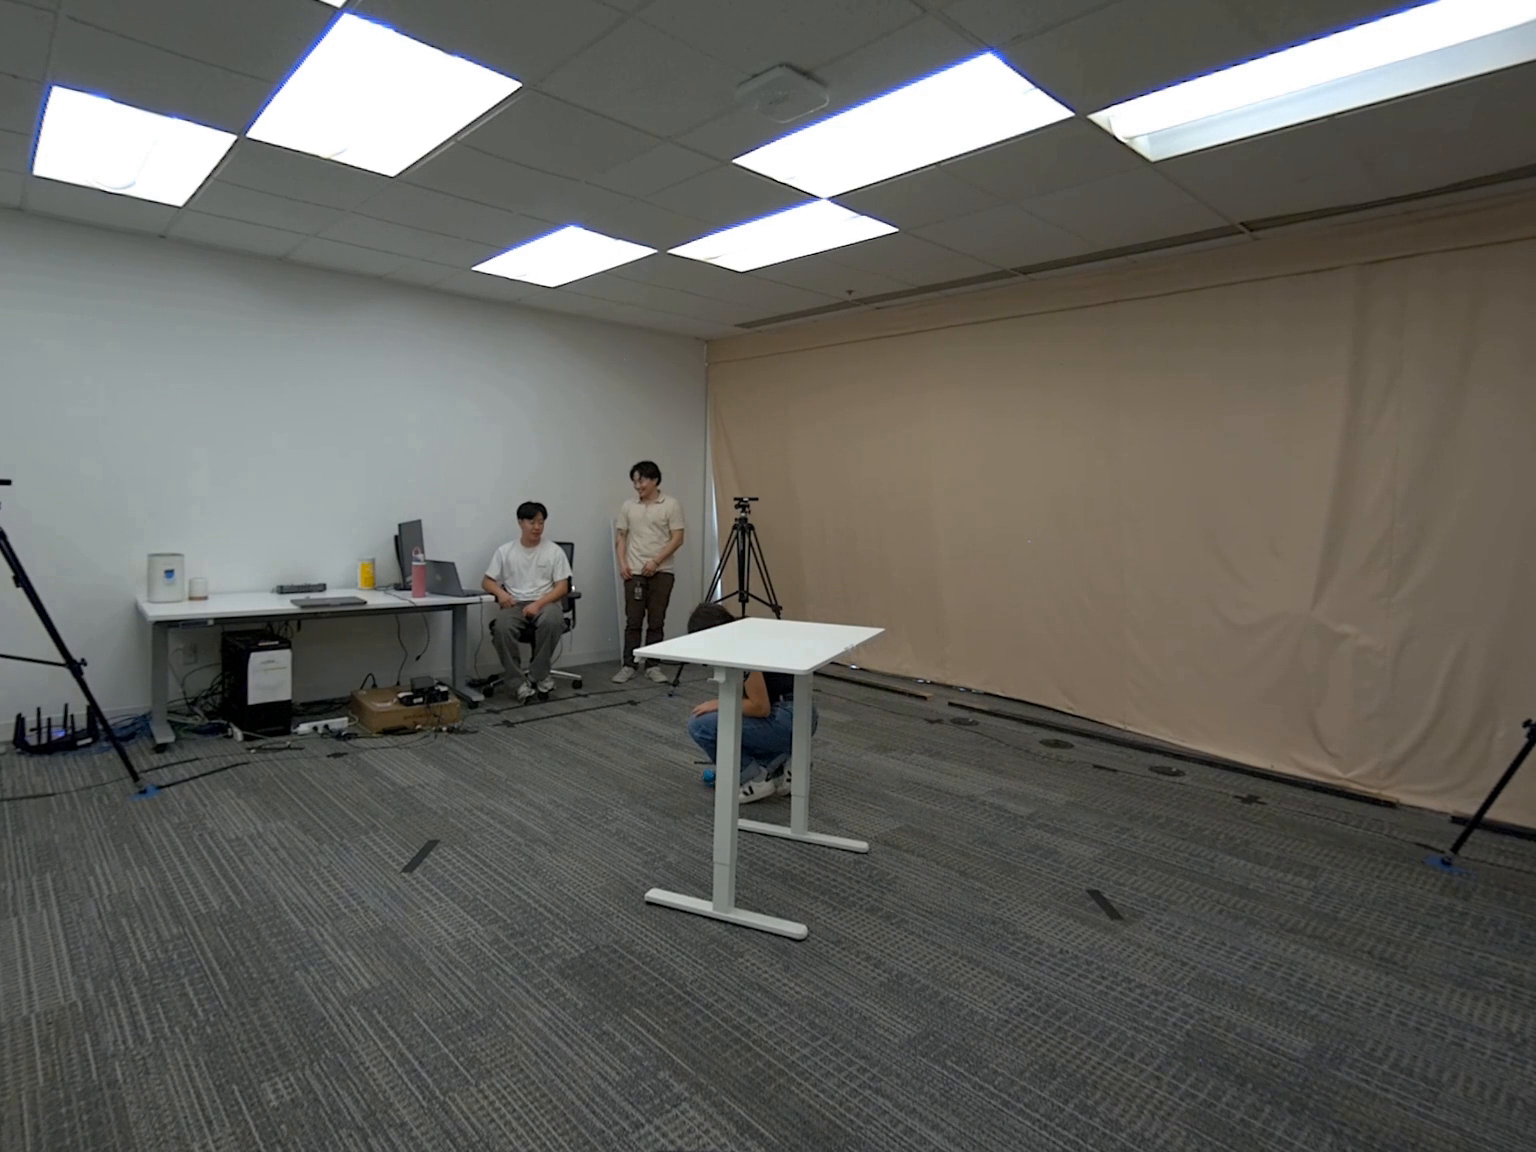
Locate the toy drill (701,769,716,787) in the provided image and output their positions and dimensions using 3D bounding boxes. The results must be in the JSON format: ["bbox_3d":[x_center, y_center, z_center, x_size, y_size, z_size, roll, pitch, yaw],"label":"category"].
[{"bbox_3d":[-0.272,0.970,4.127,0.144,0.061,0.171,-8,-4,-18],"label":"toy drill"}]
